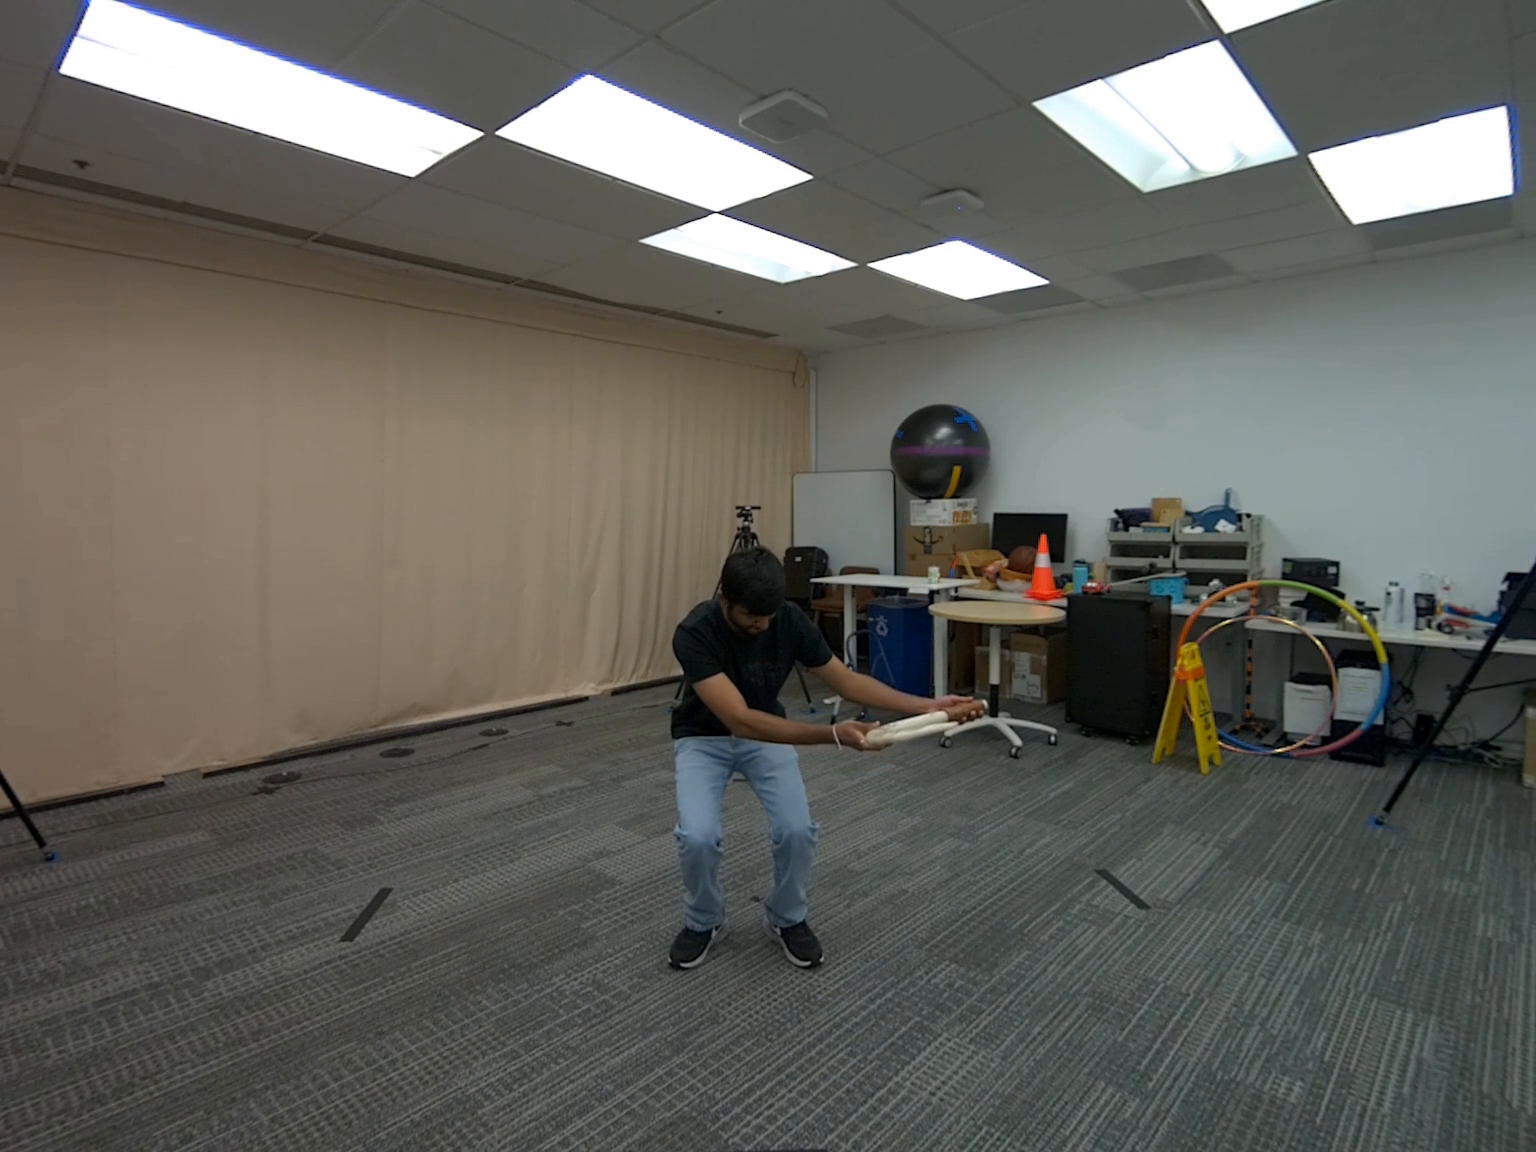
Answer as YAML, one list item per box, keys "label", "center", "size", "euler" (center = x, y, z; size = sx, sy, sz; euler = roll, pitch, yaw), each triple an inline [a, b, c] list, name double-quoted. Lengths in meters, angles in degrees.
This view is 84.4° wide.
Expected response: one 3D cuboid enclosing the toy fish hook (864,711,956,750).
- label: "toy fish hook"
  center: [0.475, 0.401, 2.285]
  size: [0.492, 0.048, 0.231]
  euler: [-8, -1, -38]
